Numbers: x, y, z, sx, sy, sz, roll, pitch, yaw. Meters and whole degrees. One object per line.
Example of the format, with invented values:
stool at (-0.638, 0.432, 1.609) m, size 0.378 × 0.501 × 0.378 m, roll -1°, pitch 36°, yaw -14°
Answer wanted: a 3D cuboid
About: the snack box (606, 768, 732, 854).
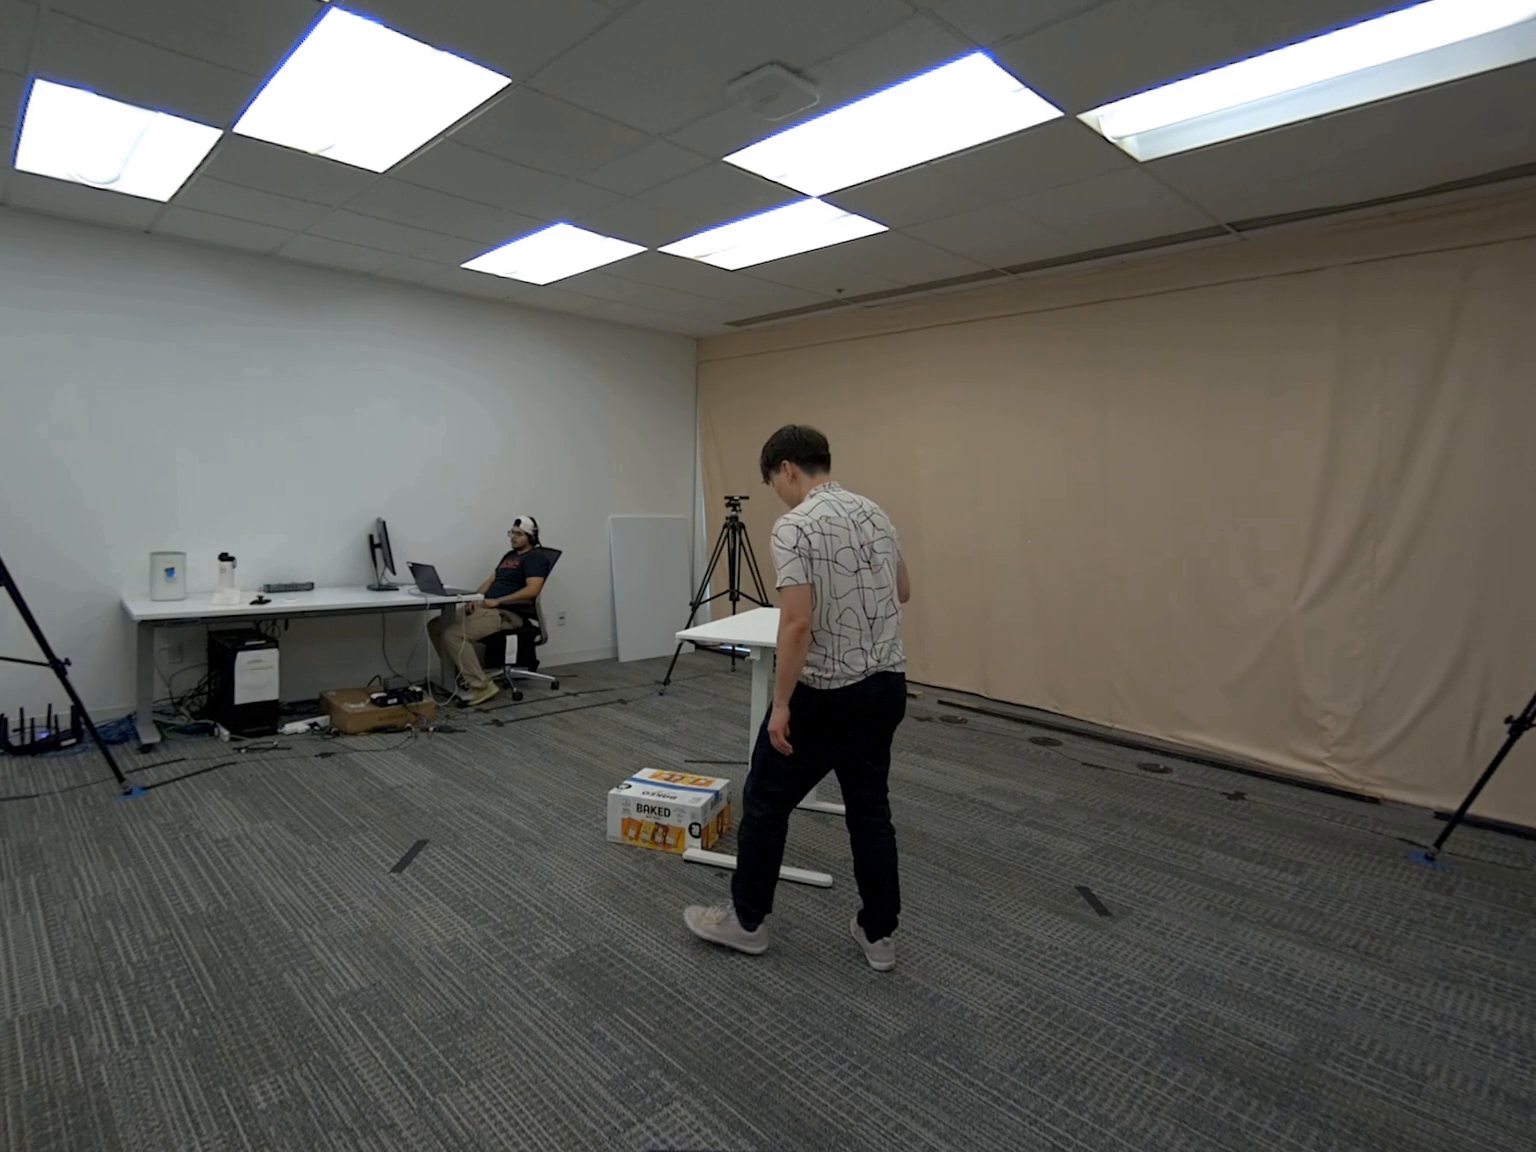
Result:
snack box at (-0.408, 0.964, 3.461) m, size 0.411 × 0.205 × 0.336 m, roll 3°, pitch 4°, yaw 19°
